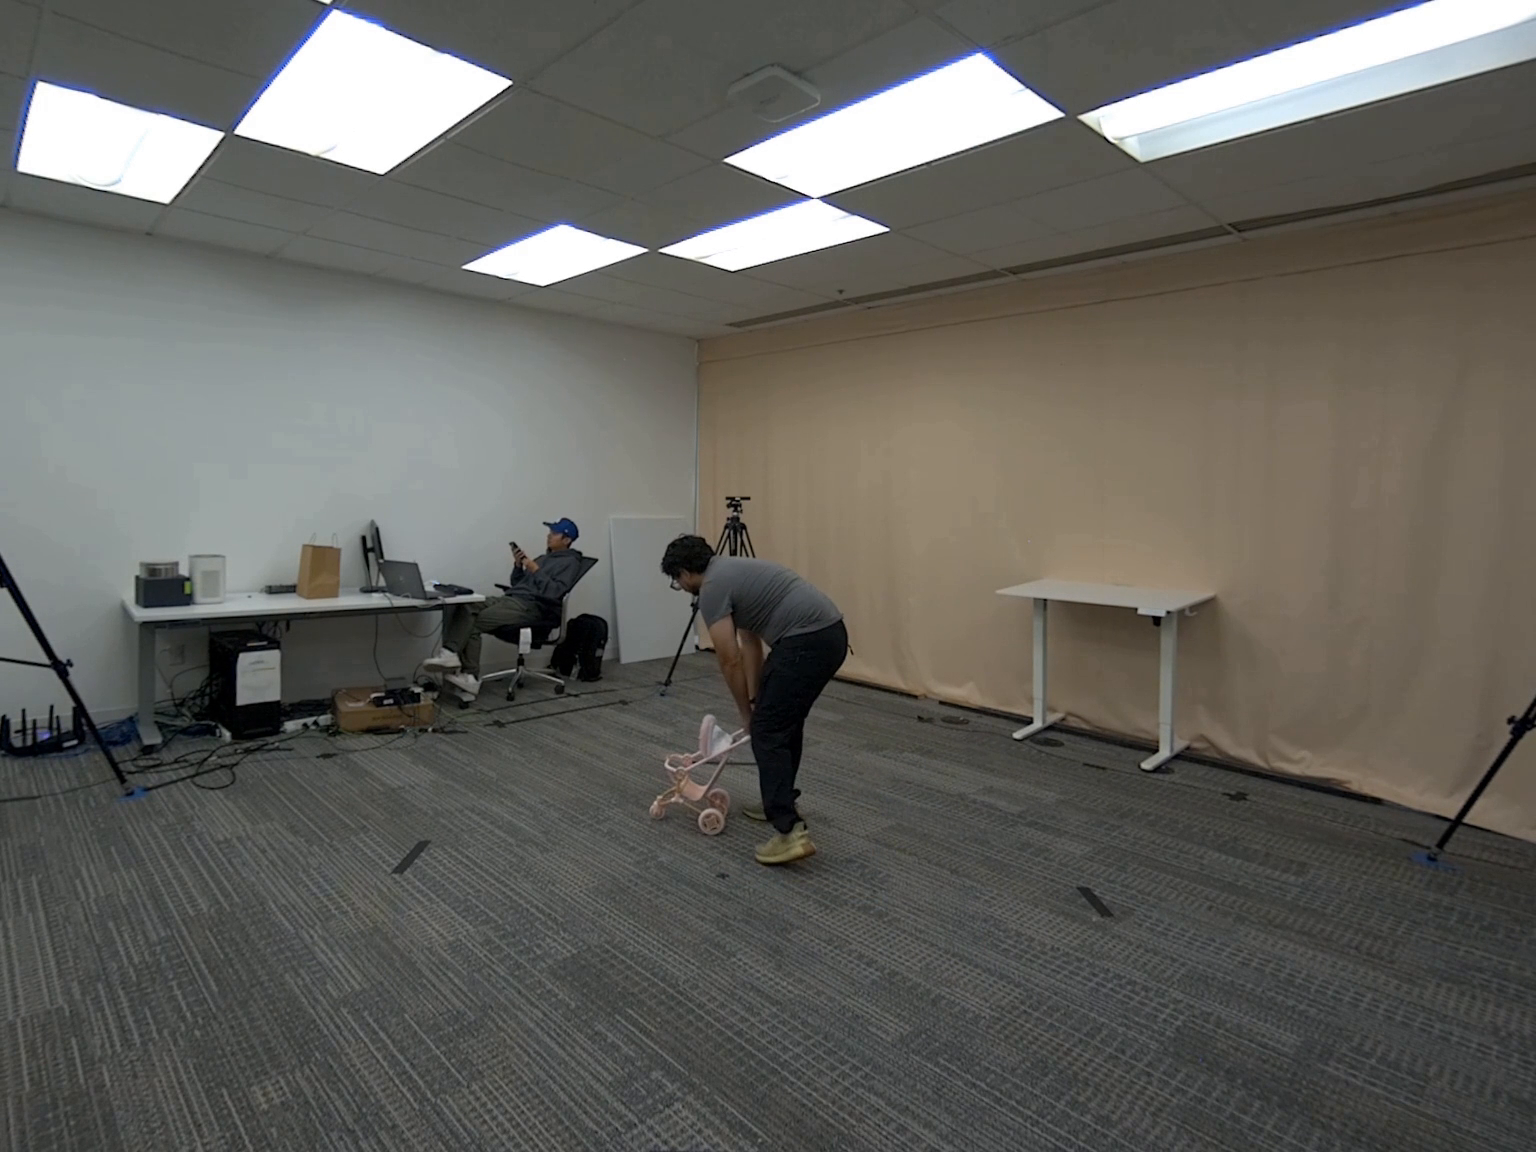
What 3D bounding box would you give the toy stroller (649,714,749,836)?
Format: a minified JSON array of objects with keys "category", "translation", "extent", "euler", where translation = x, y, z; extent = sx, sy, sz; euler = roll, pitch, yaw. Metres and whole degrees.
[{"category":"toy stroller","translation":[-0.293,0.836,3.606],"extent":[0.345,0.533,0.279],"euler":[19,6,9]}]
